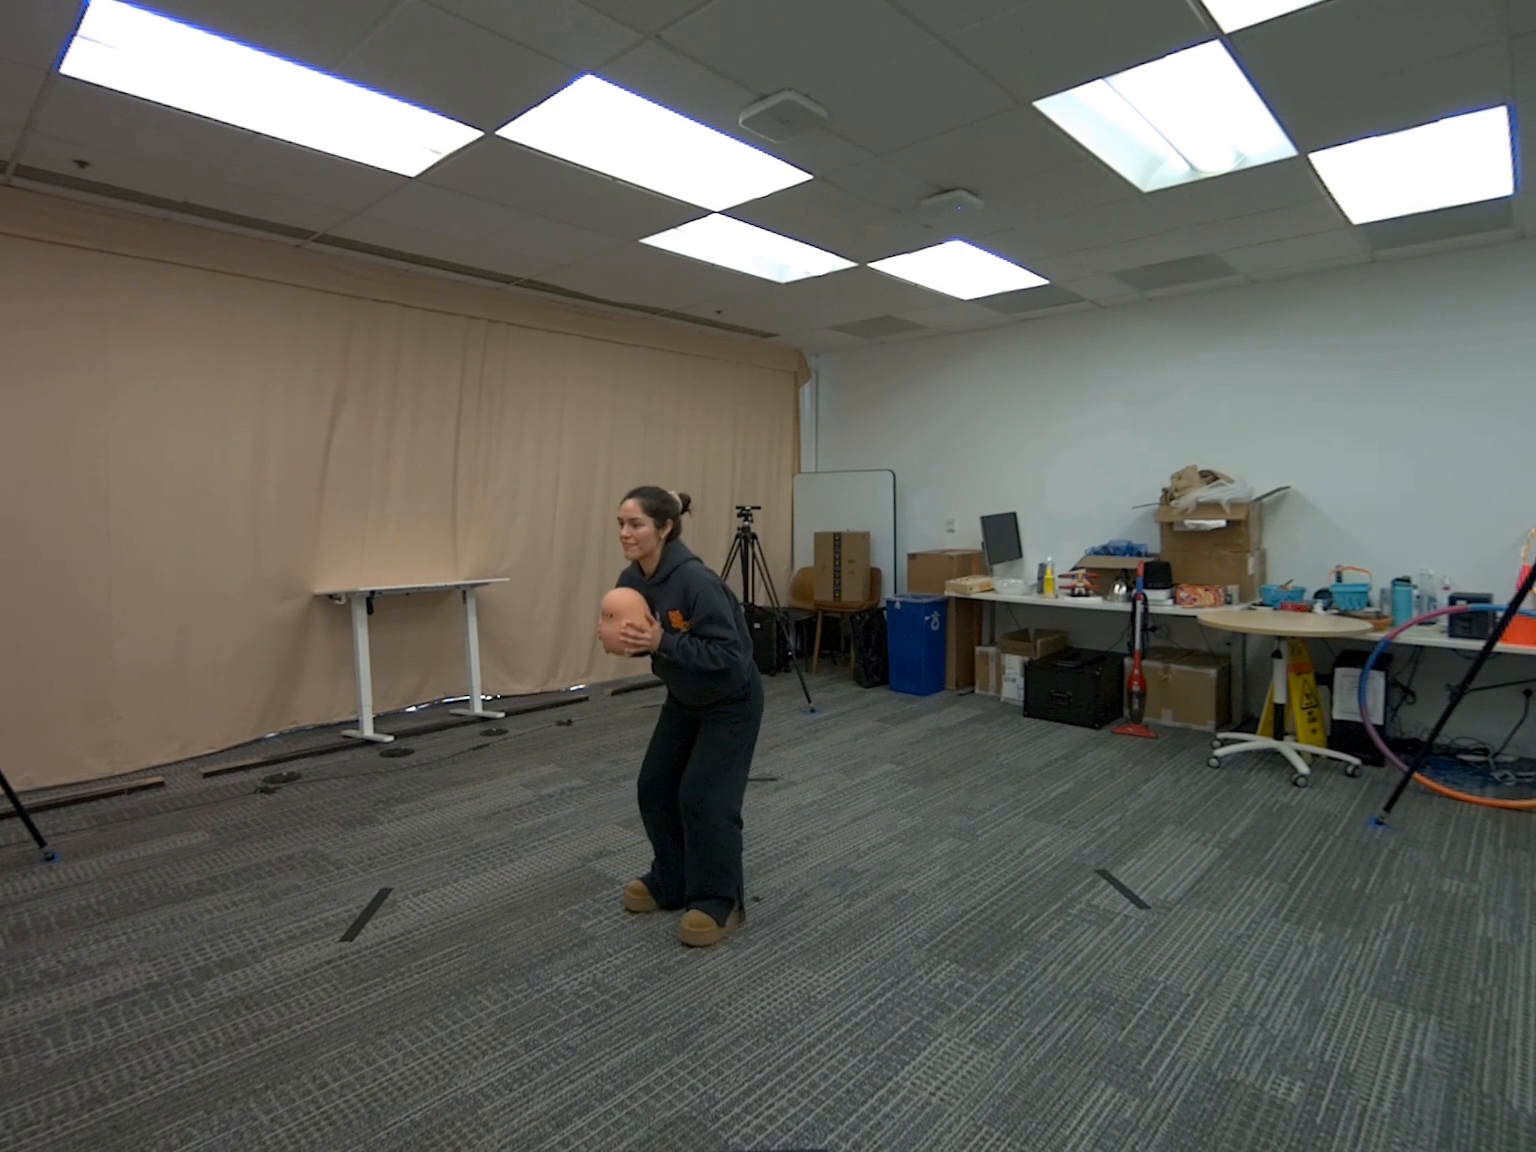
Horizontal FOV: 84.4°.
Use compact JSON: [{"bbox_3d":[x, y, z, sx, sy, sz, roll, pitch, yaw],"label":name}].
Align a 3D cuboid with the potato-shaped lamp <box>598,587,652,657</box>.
[{"bbox_3d":[-0.440,0.136,2.637,0.170,0.195,0.168,4,27,45],"label":"potato-shaped lamp"}]
